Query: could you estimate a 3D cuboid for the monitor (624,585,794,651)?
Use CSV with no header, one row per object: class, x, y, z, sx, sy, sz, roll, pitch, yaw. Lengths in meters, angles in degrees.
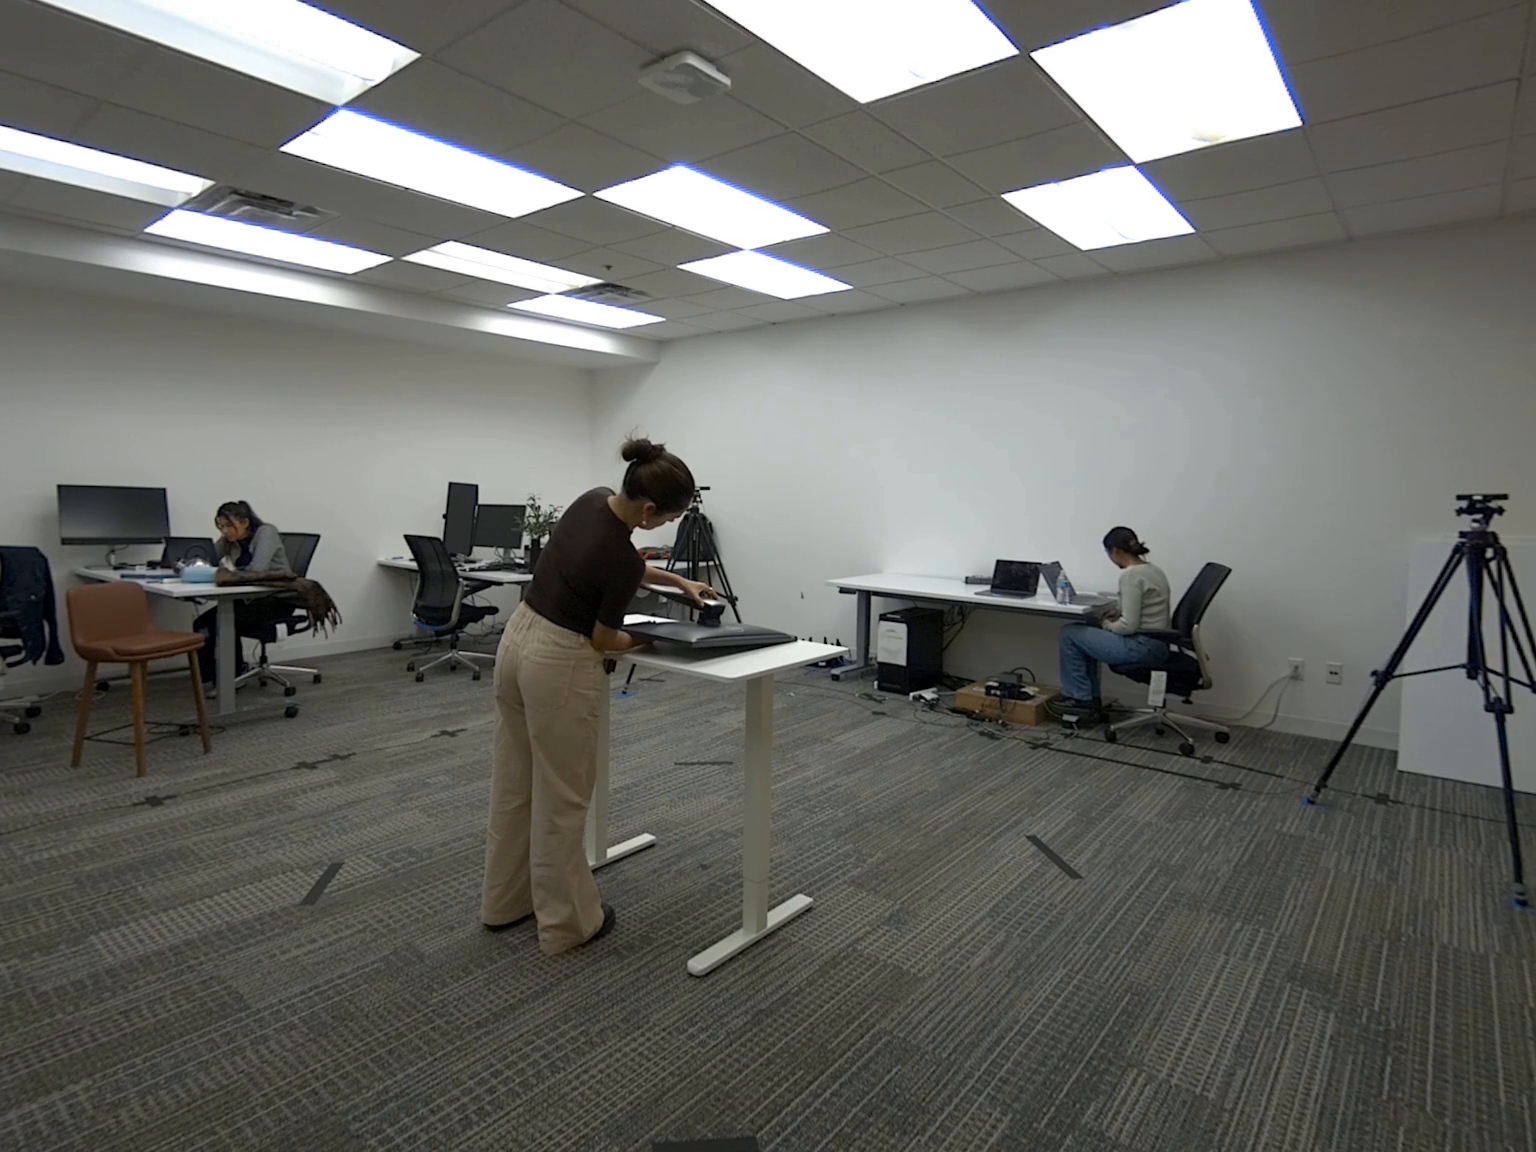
monitor,-0.266,0.130,2.813,0.543,0.185,0.523,24,17,37
